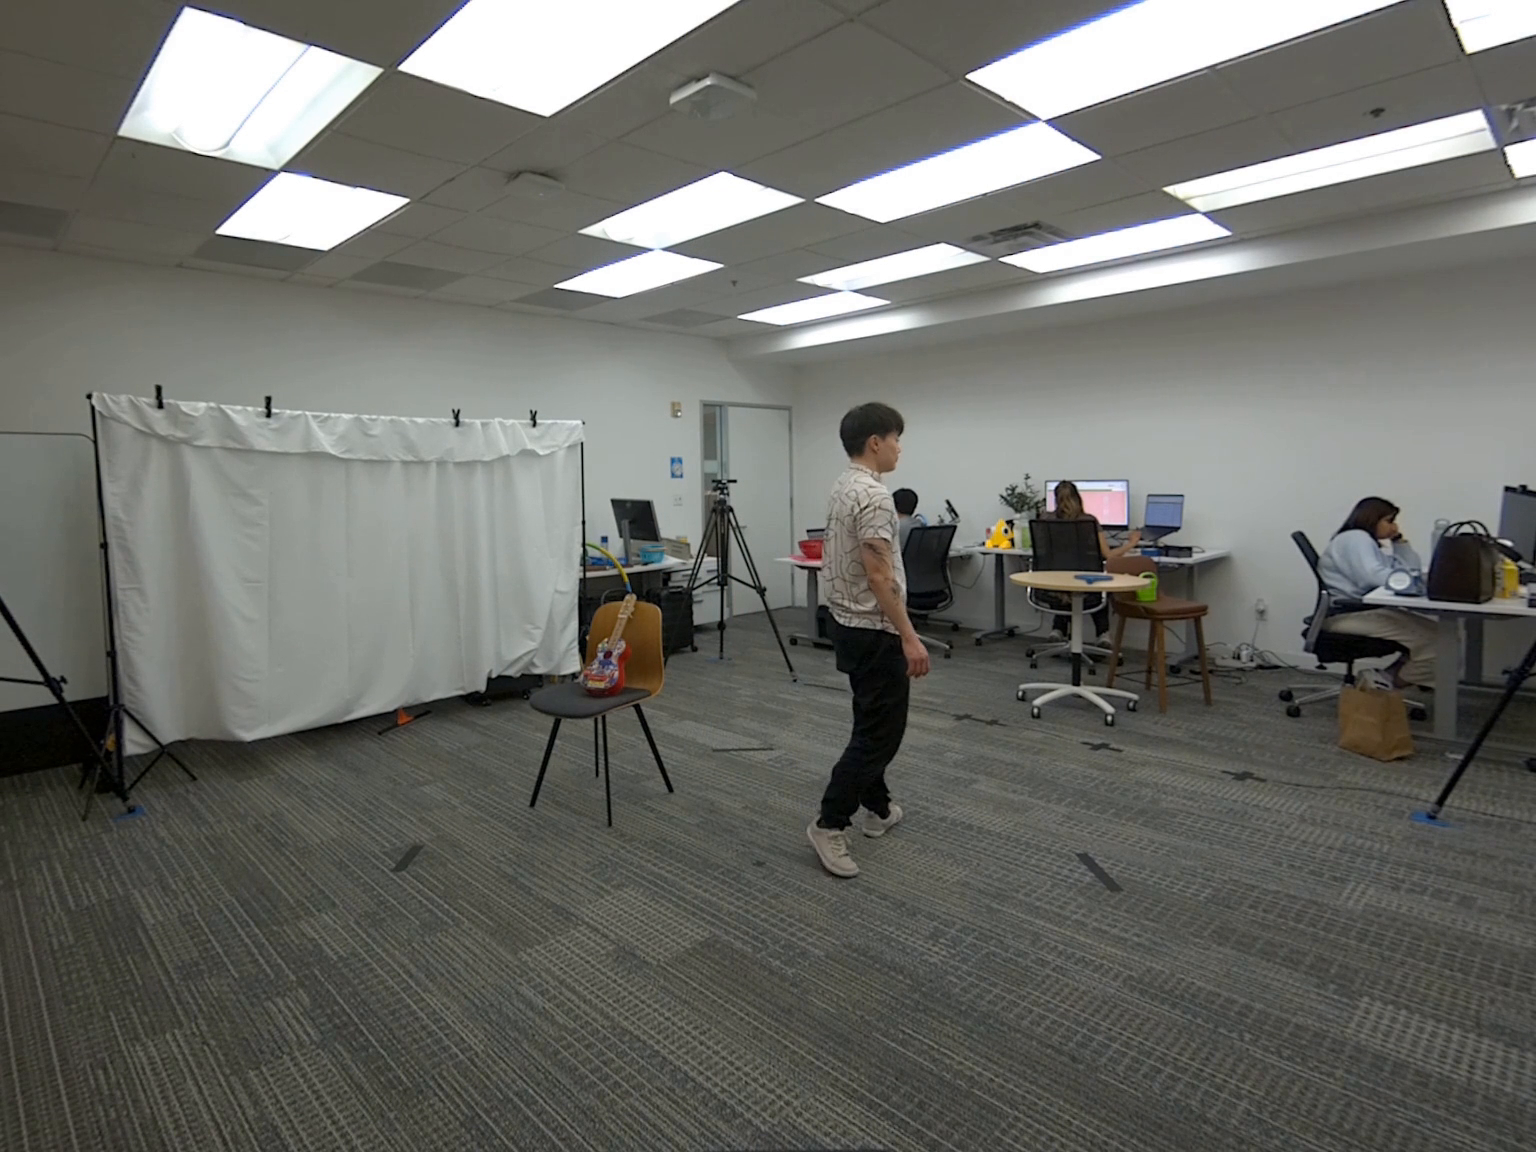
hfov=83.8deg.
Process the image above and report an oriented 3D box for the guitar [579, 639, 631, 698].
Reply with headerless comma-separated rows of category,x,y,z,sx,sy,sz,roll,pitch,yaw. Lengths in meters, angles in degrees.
guitar,-0.660,0.306,3.811,0.198,0.502,0.068,7,-33,30
